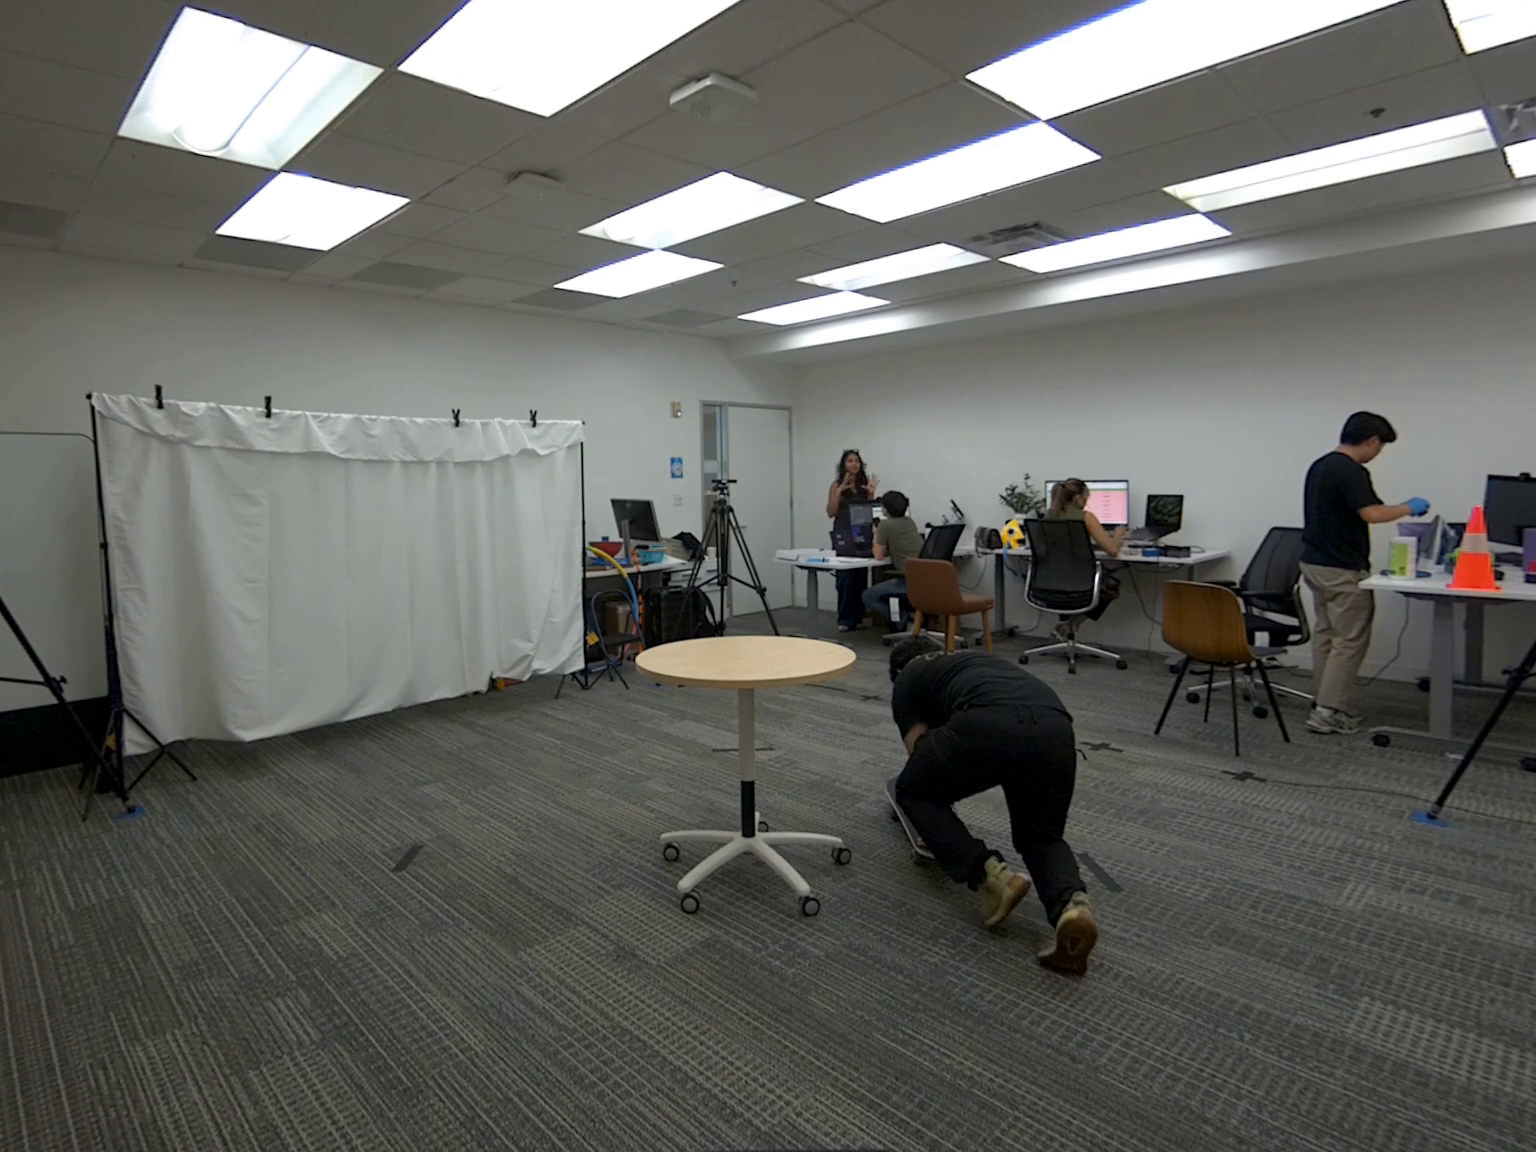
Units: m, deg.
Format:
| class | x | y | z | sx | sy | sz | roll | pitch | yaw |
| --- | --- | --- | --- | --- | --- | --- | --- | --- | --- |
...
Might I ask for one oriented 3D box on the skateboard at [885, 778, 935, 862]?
| class | x | y | z | sx | sy | sz | roll | pitch | yaw |
| --- | --- | --- | --- | --- | --- | --- | --- | --- | --- |
| skateboard | 0.609 | 0.961 | 3.295 | 0.193 | 0.110 | 0.791 | 3 | 6 | -4 |
